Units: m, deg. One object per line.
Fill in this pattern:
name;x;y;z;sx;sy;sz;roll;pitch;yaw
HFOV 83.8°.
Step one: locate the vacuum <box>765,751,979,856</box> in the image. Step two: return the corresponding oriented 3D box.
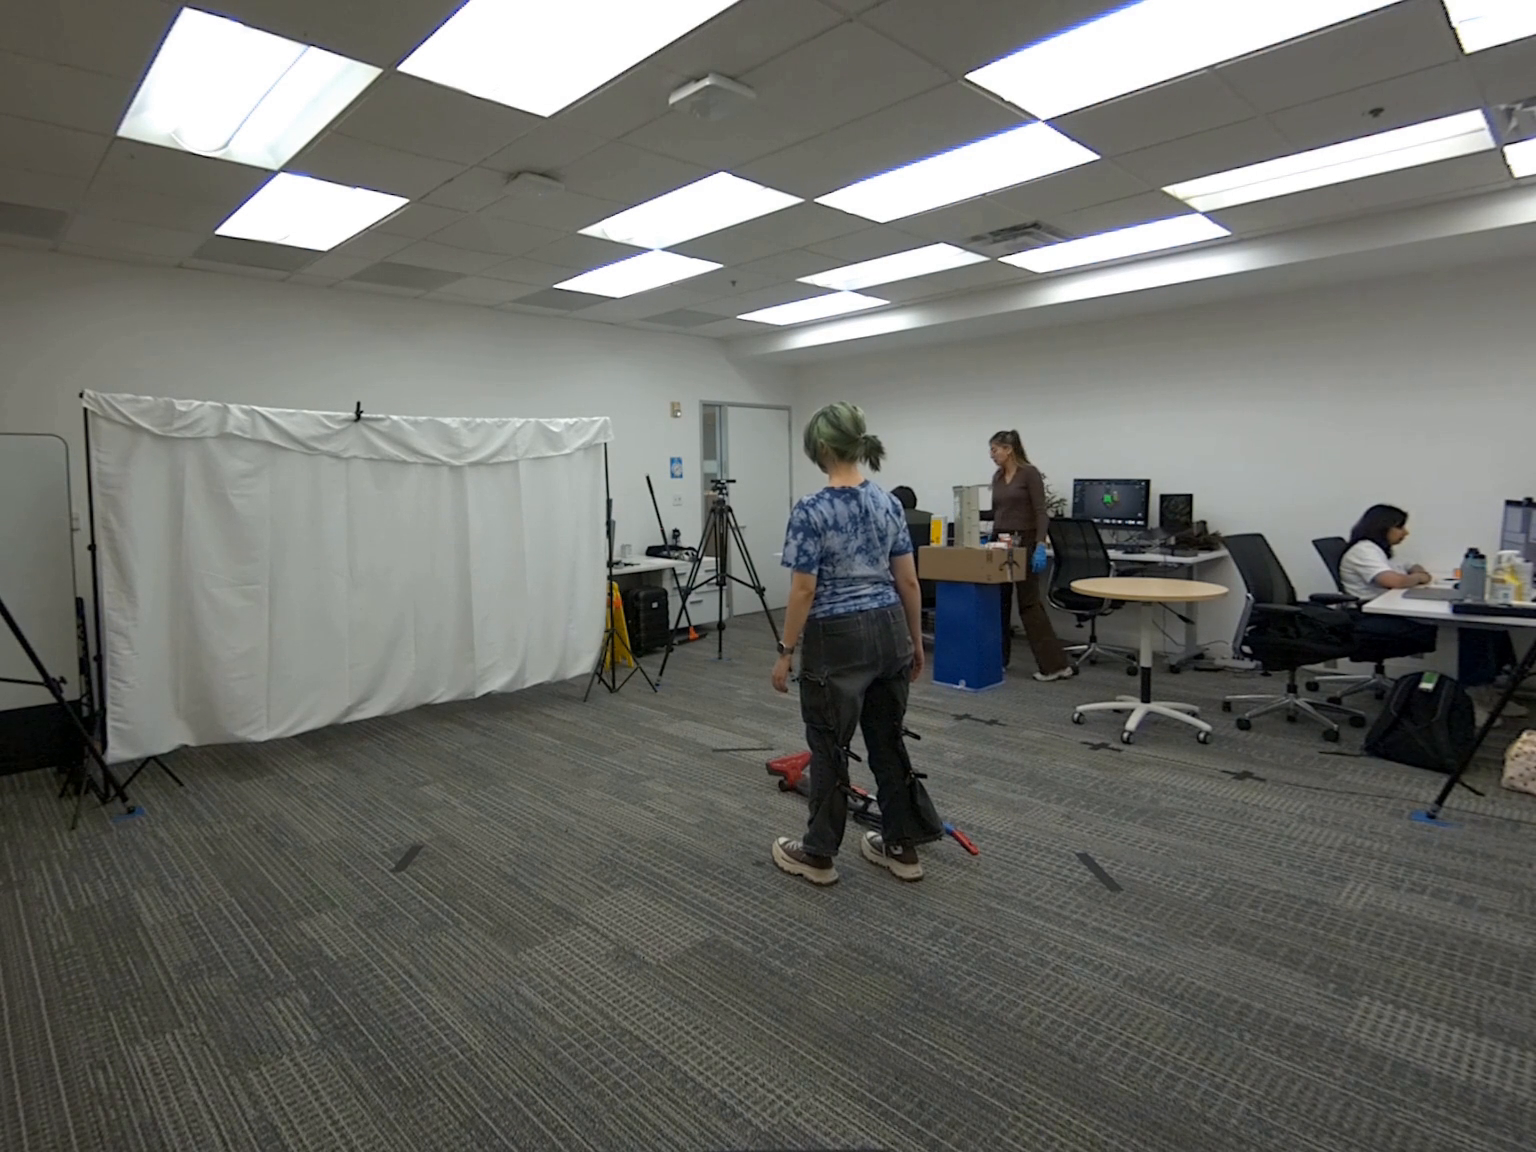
vacuum;0.414;0.940;3.456;0.246;0.143;1.082;-8;11;-36
